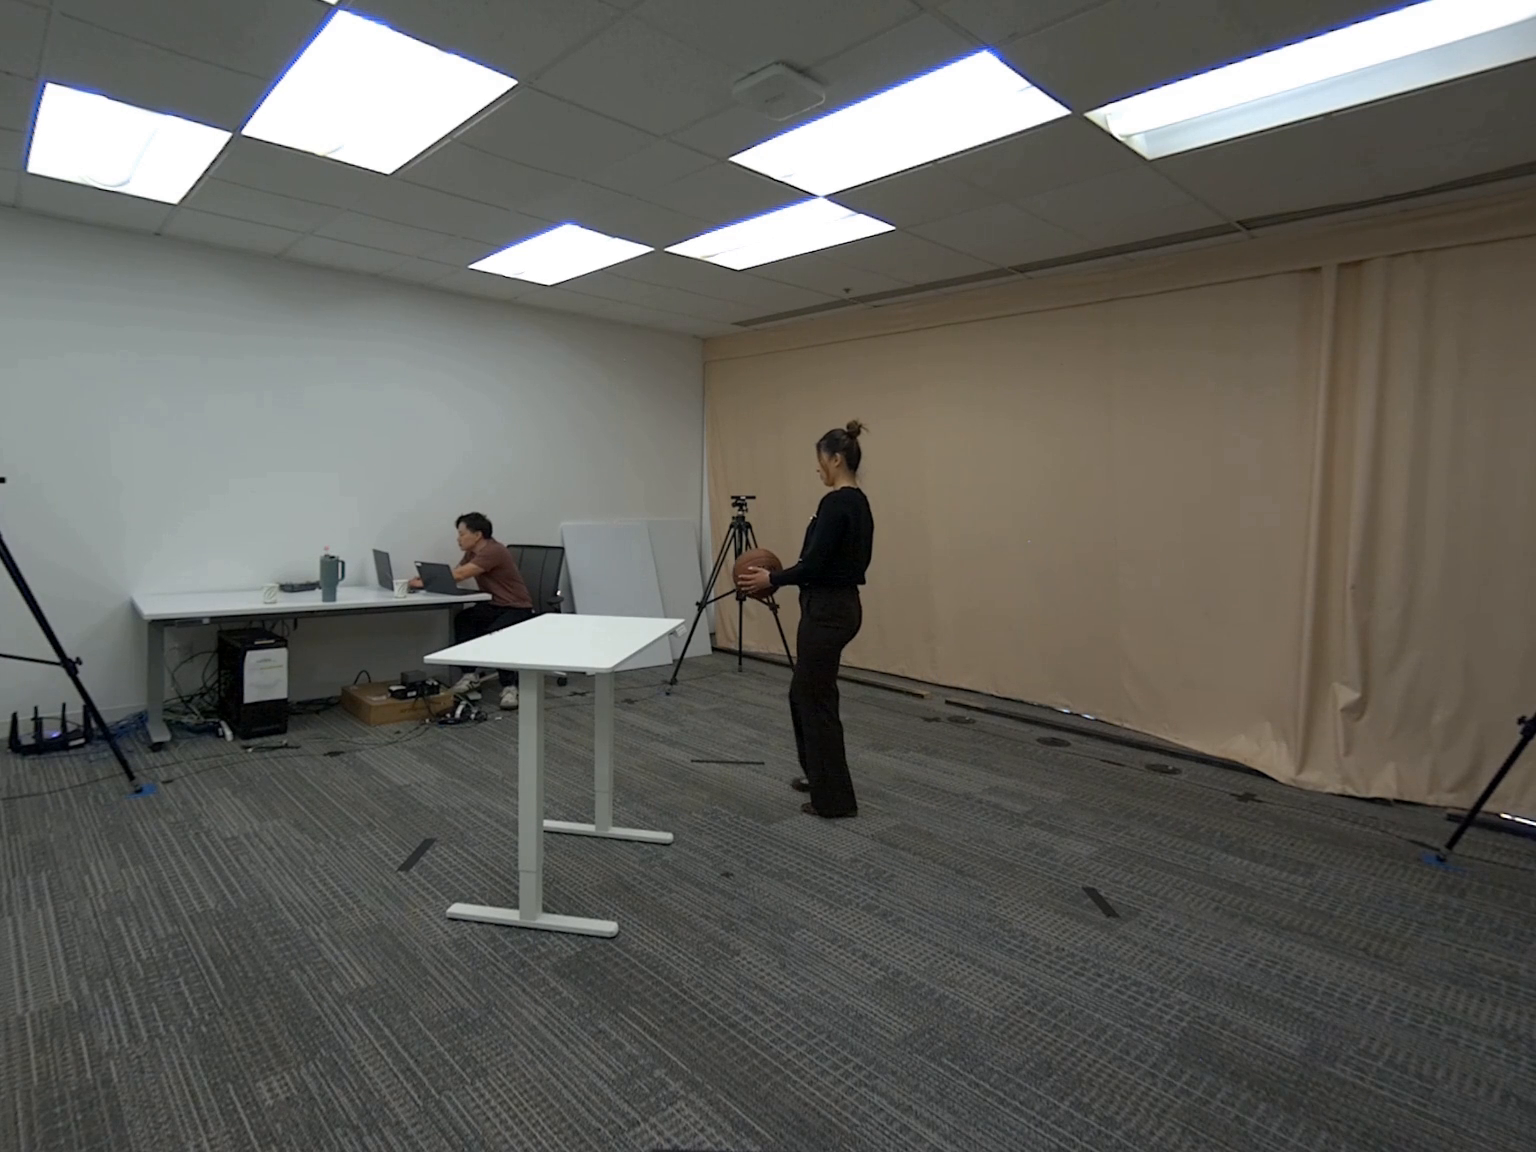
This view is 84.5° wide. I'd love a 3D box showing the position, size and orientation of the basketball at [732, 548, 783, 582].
[{"bbox_3d":[-0.051,-0.008,3.874,0.236,0.235,0.237,1,4,-1],"label":"basketball"}]
